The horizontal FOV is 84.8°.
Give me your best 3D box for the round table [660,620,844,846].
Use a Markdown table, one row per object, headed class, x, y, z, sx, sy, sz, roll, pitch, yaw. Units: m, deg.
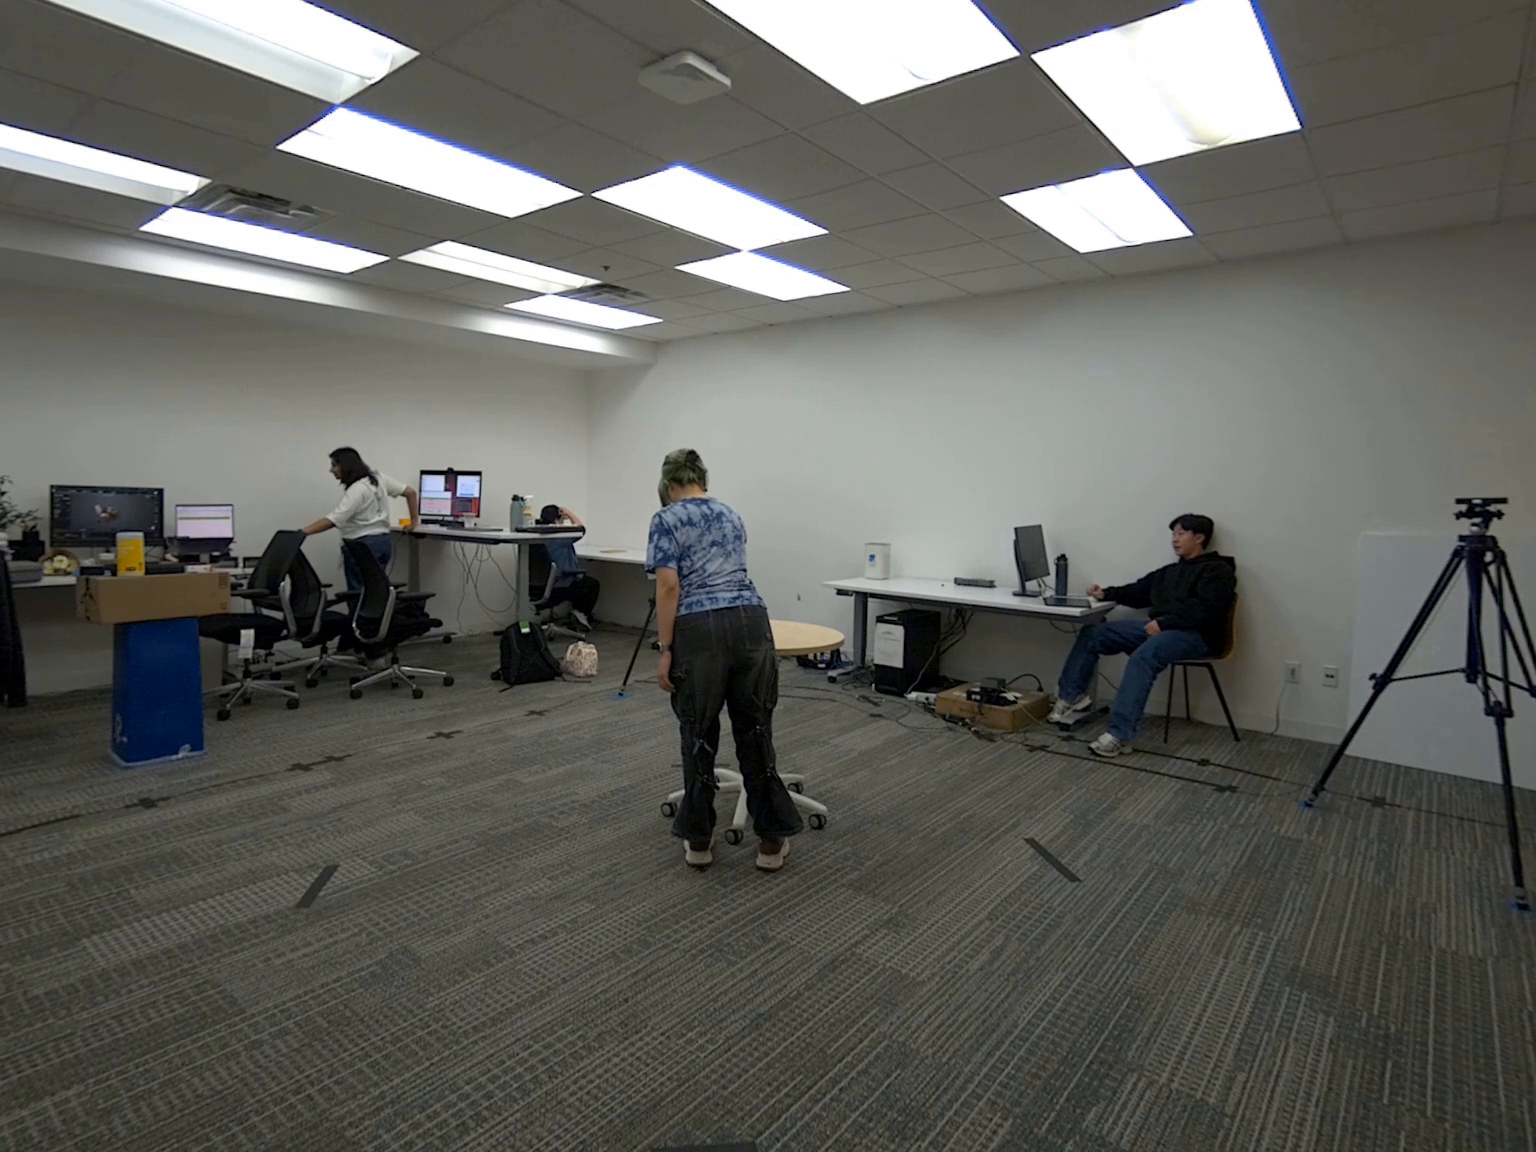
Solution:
| class | x | y | z | sx | sy | sz | roll | pitch | yaw |
| --- | --- | --- | --- | --- | --- | --- | --- | --- | --- |
| round table | -0.069 | 0.625 | 3.628 | 0.784 | 0.784 | 0.789 | 1 | 4 | -2 |
